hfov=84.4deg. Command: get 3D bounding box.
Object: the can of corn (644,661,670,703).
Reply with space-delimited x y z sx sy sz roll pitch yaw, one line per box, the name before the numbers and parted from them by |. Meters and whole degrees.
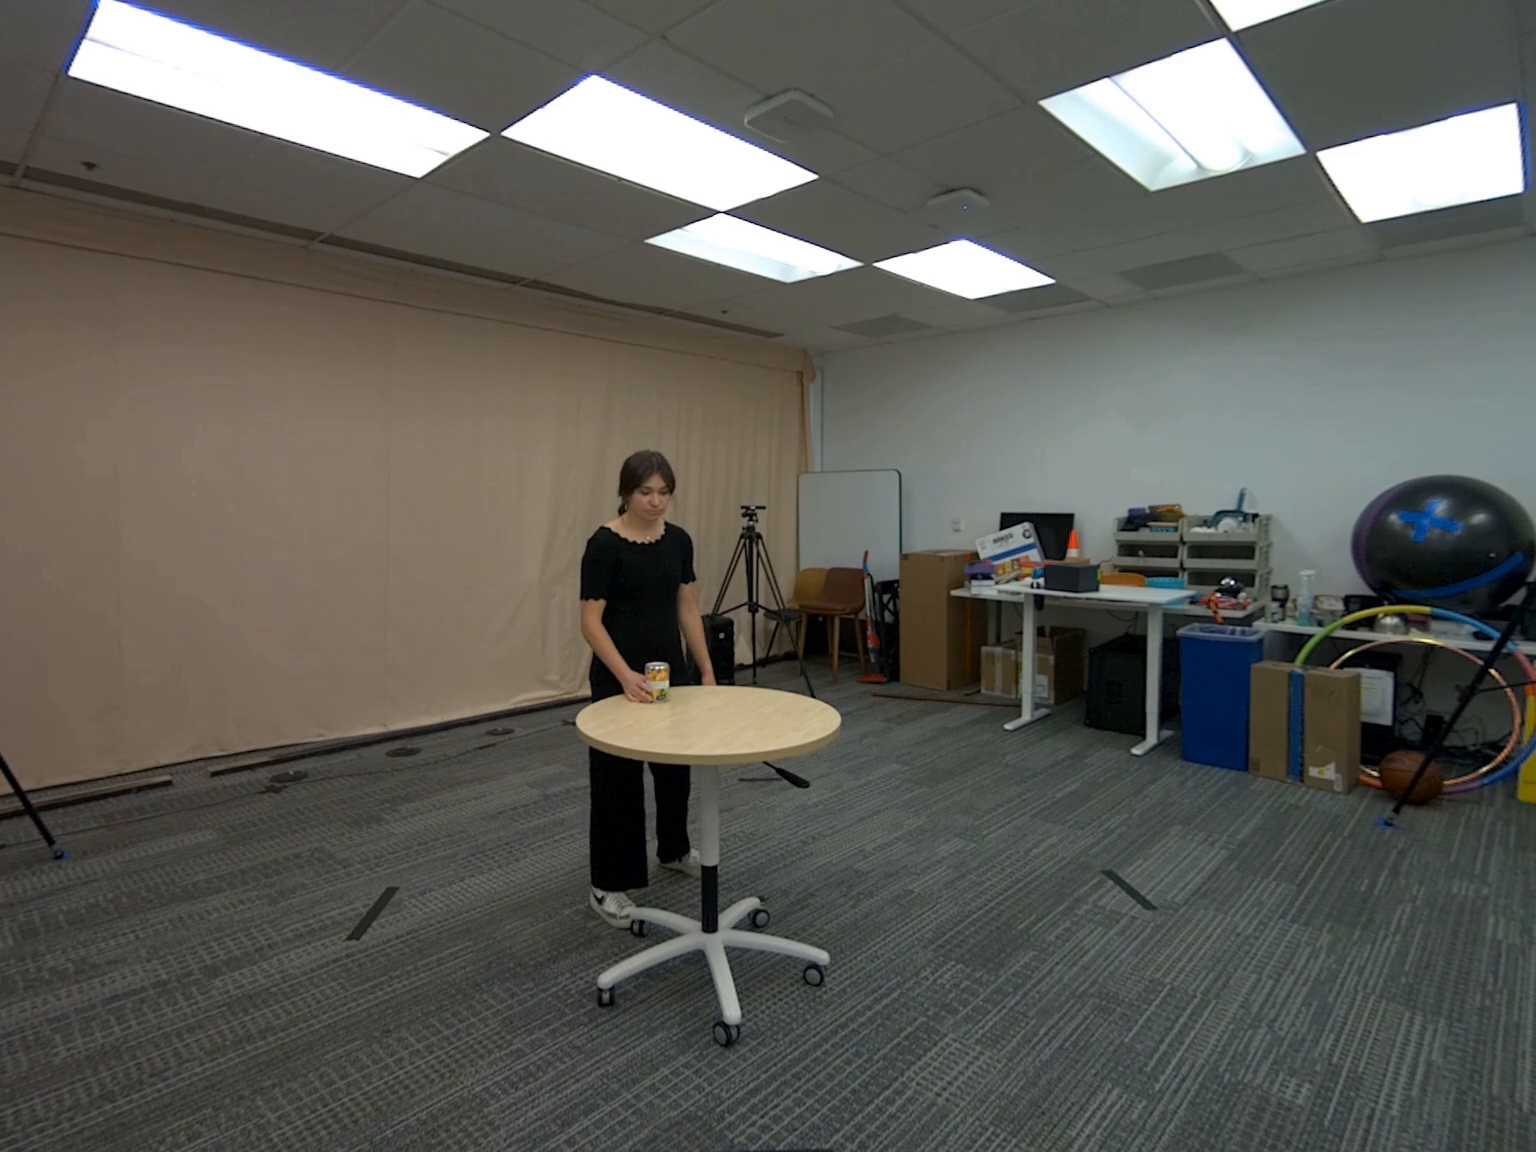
can of corn | -0.348 0.332 2.631 0.074 0.111 0.074 -3 4 -2
